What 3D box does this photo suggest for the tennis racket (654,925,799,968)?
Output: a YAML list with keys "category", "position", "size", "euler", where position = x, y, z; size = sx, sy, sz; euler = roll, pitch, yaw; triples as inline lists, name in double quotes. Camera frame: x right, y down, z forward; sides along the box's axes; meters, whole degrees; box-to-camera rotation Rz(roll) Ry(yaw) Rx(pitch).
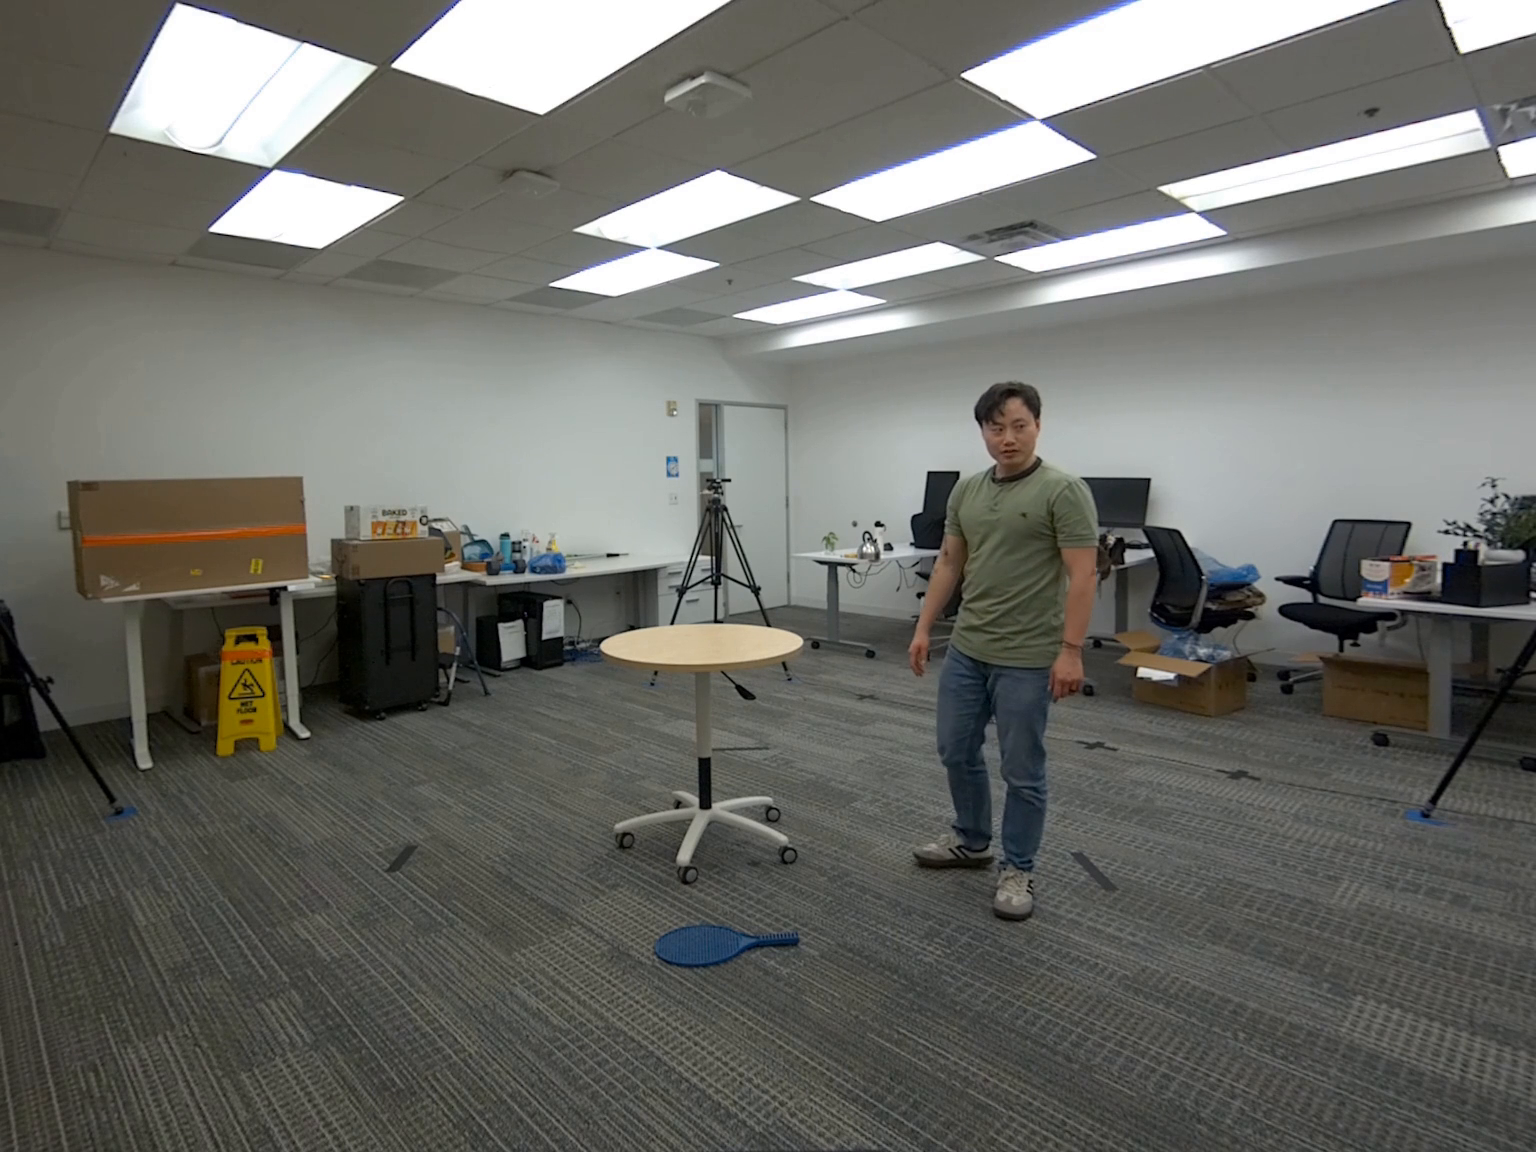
- category: "tennis racket"
  position: [-0.117, 1.097, 2.554]
  size: [0.432, 0.031, 0.215]
  euler: [-3, 7, -1]
